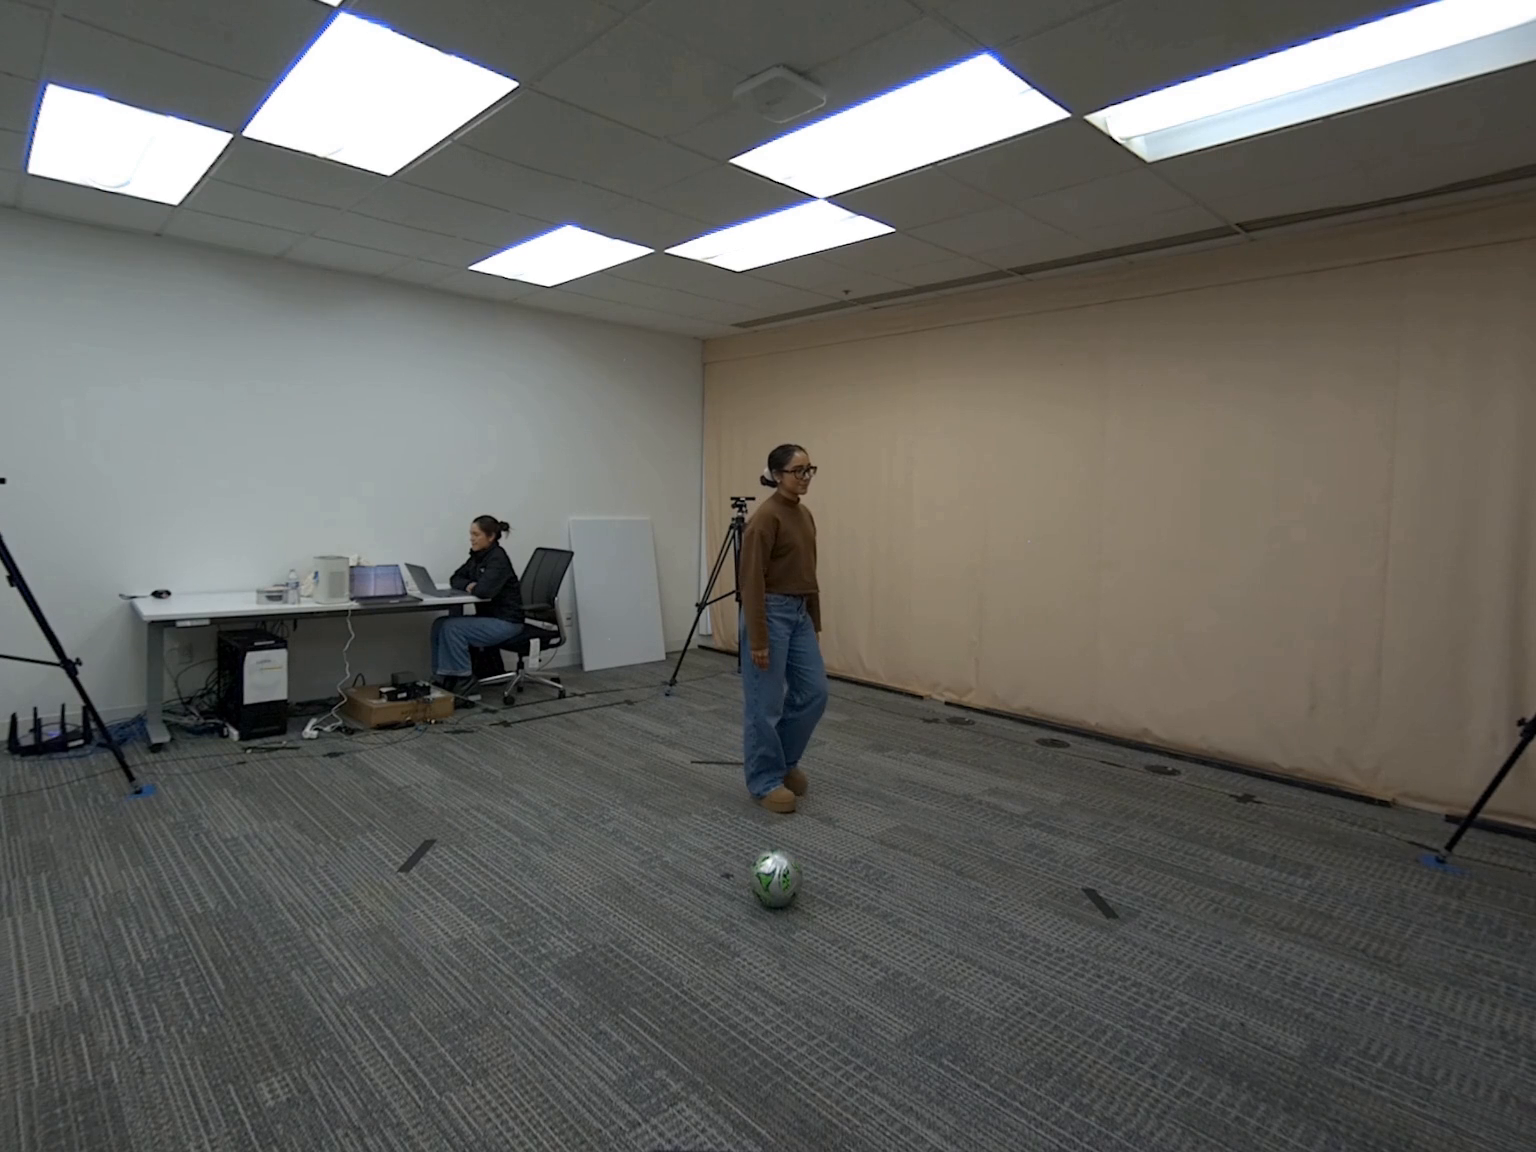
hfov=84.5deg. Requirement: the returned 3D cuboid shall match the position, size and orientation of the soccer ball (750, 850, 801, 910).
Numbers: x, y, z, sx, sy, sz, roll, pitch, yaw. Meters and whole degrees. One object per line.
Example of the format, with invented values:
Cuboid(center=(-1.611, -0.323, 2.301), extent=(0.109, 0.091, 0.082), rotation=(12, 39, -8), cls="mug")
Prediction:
Cuboid(center=(0.016, 1.033, 2.883), extent=(0.187, 0.187, 0.188), rotation=(1, 4, -1), cls="soccer ball")
